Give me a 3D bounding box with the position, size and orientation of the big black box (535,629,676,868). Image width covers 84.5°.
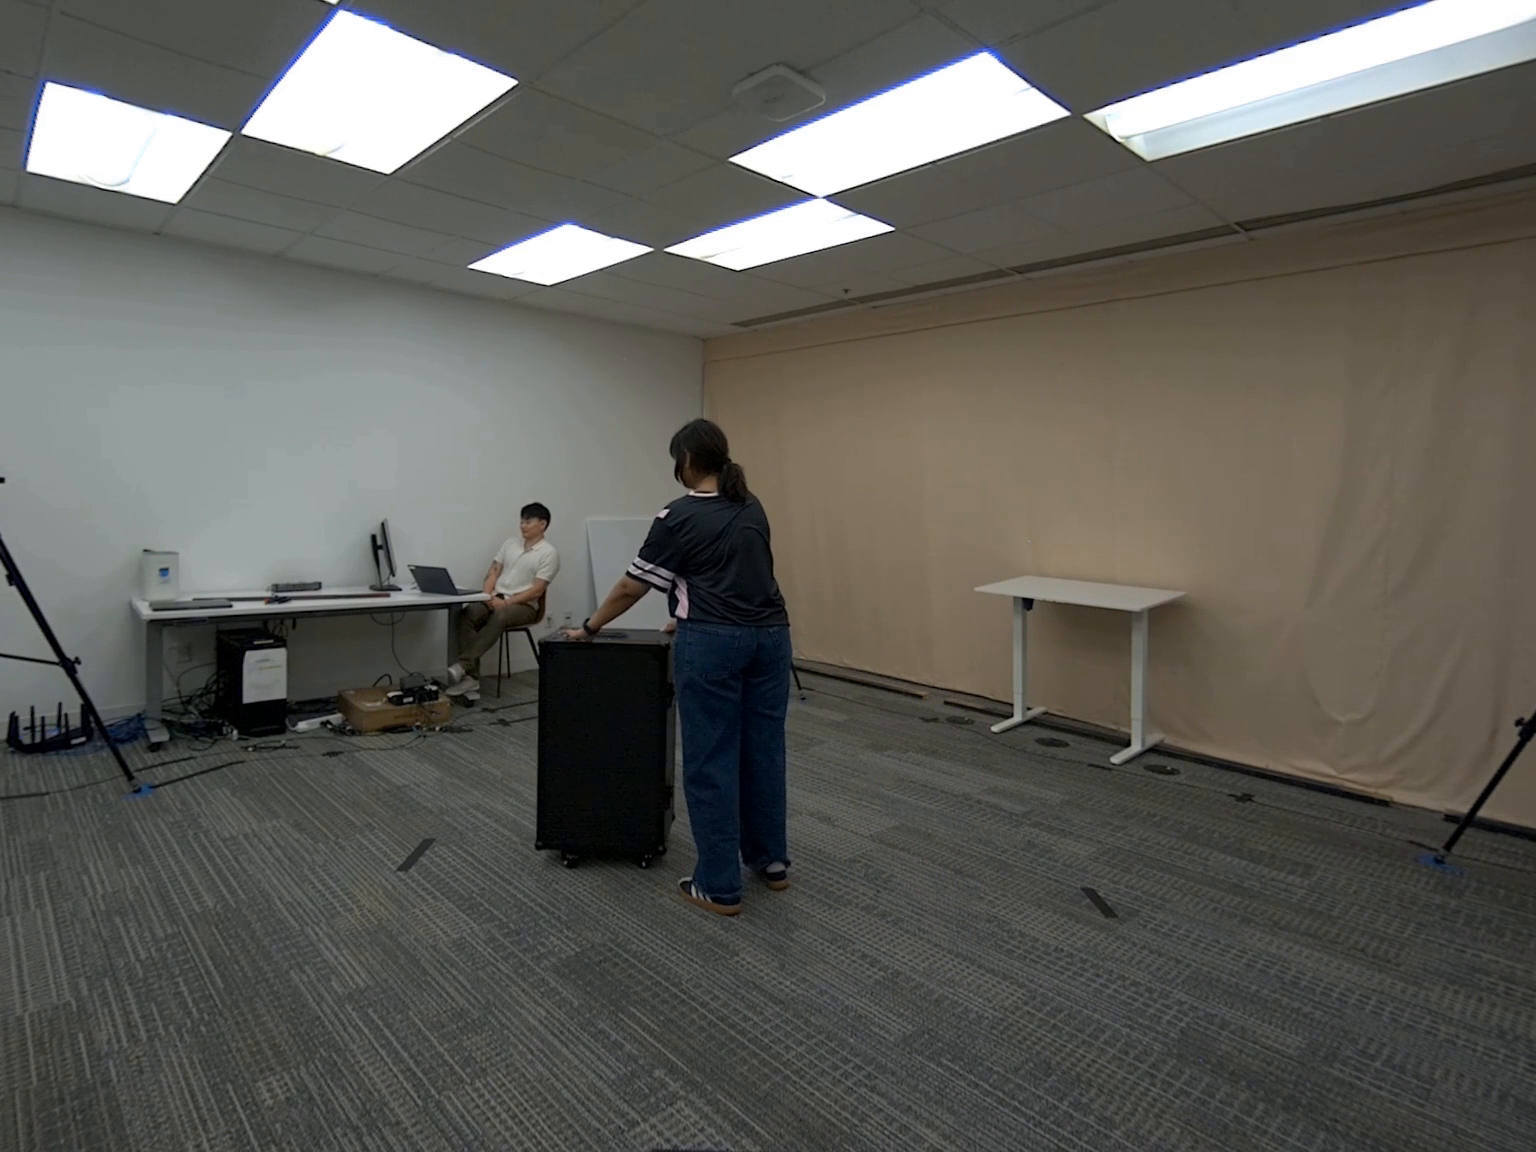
[{"bbox_3d":[-0.622,0.656,3.269,0.524,0.867,0.386,2,3,0],"label":"big black box"}]
